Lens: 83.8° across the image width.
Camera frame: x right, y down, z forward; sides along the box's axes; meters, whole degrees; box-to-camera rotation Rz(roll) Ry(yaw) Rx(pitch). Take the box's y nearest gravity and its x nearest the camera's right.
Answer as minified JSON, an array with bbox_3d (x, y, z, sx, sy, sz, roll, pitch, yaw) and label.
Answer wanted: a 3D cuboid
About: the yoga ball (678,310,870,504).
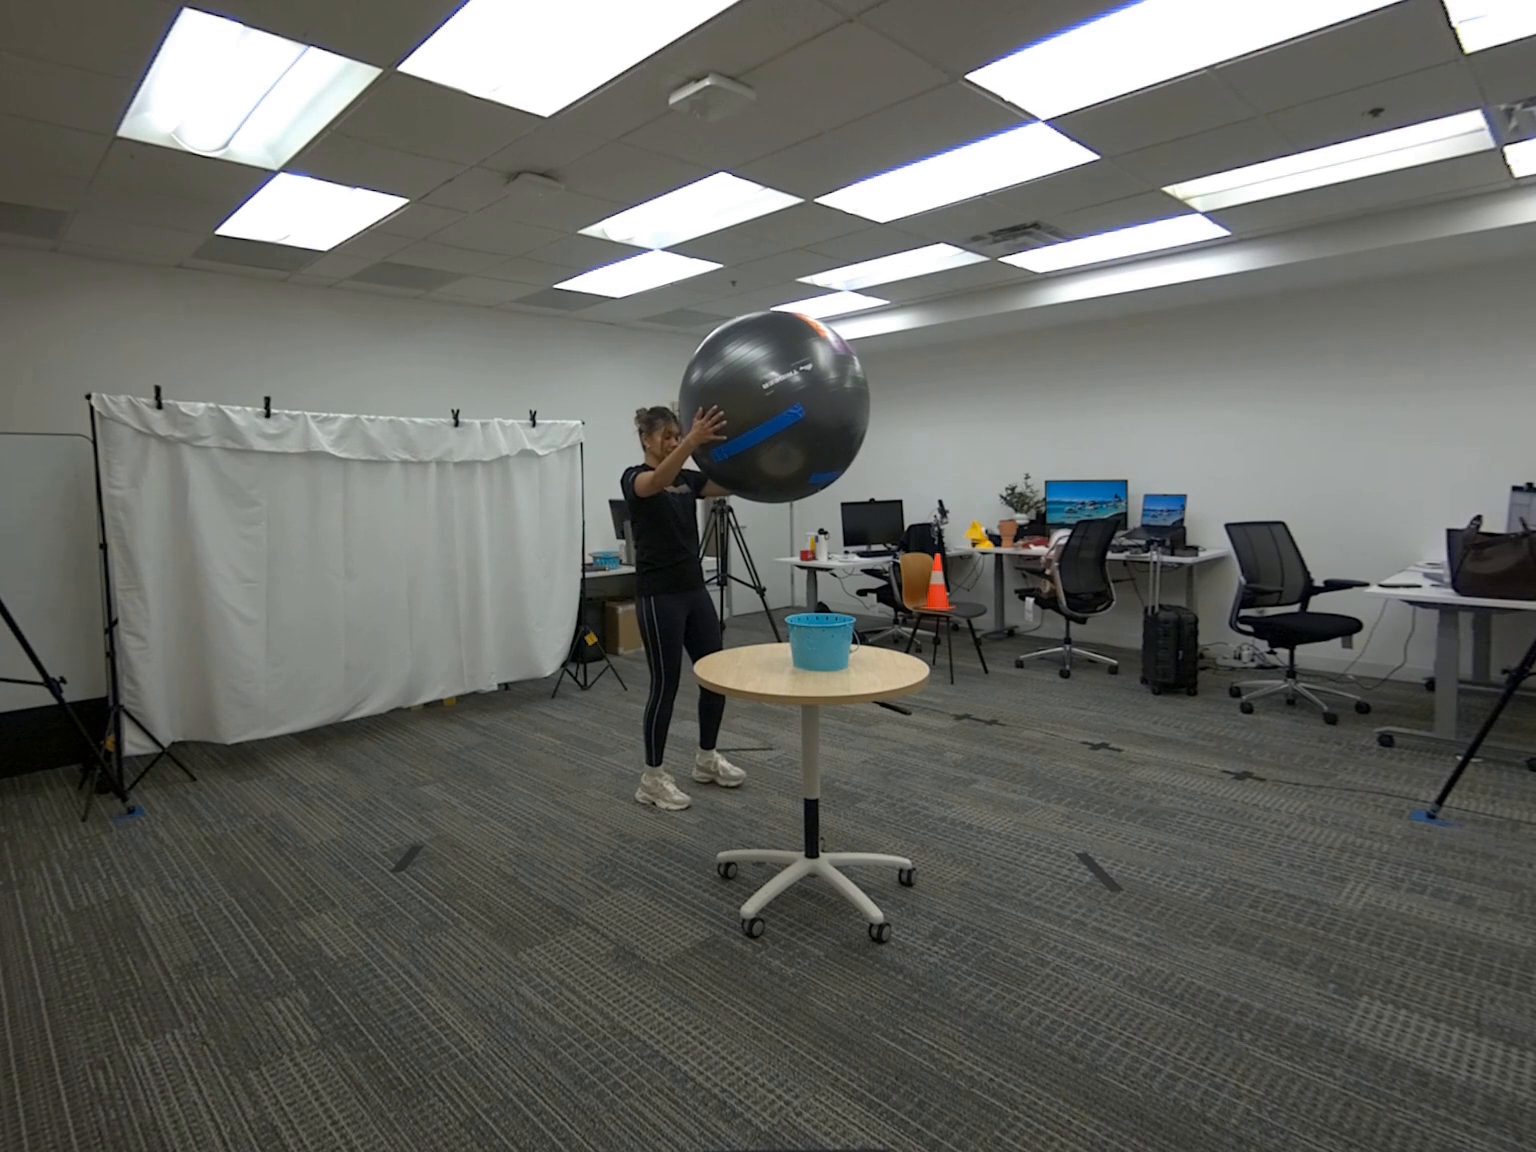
[{"bbox_3d":[0.030,-0.662,3.384,0.757,0.755,0.762,-1,5,-2],"label":"yoga ball"}]
